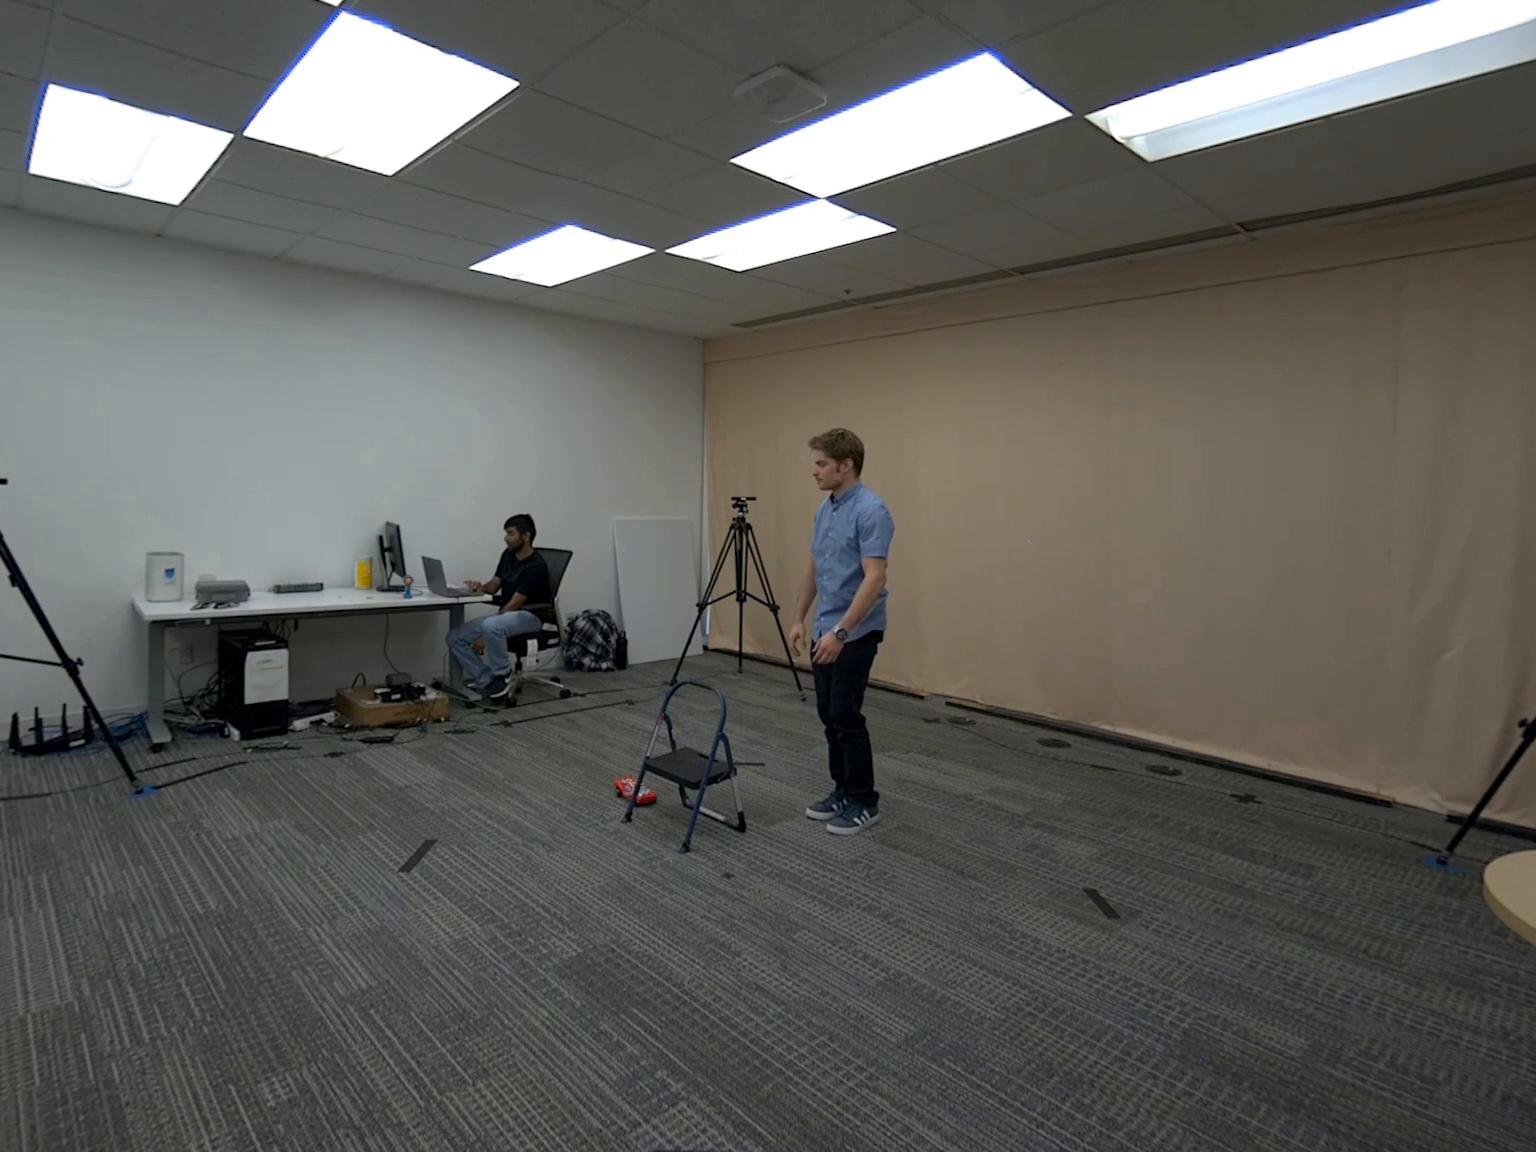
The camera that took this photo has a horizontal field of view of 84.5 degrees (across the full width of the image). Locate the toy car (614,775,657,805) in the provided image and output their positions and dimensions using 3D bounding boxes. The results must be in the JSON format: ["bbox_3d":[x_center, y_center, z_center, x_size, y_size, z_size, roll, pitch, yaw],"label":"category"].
[{"bbox_3d":[-0.627,0.993,3.890,0.127,0.082,0.262,-1,16,-35],"label":"toy car"}]
